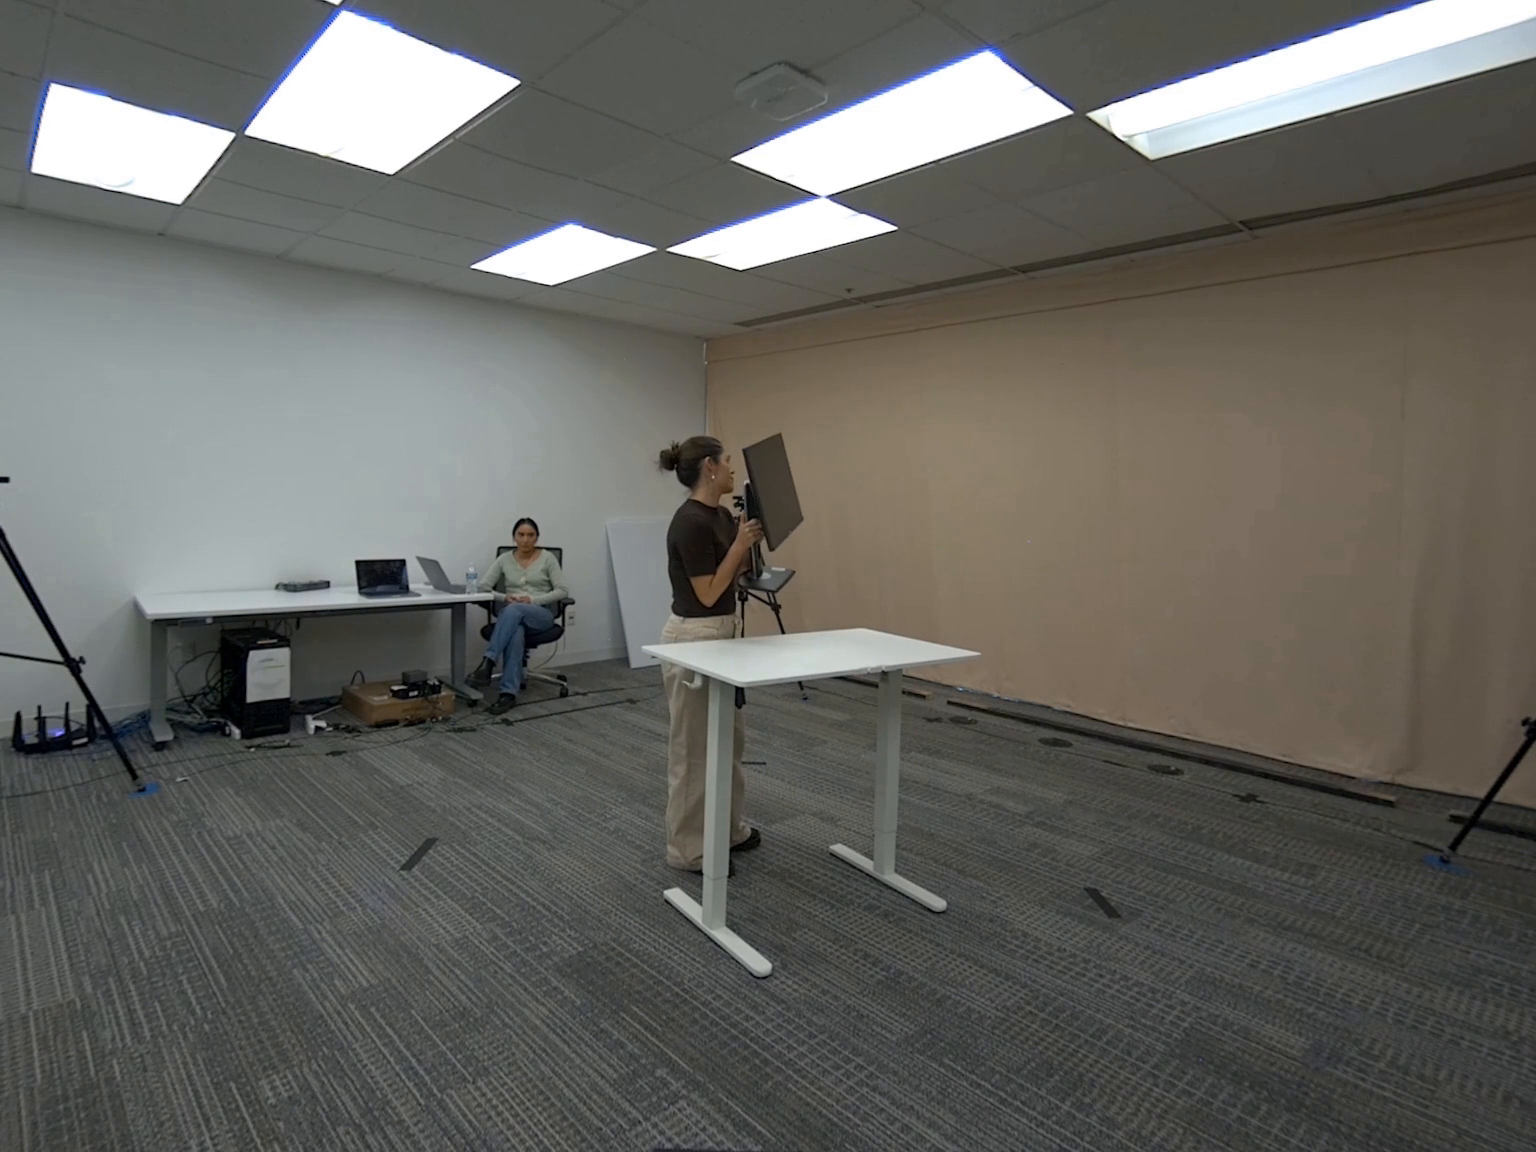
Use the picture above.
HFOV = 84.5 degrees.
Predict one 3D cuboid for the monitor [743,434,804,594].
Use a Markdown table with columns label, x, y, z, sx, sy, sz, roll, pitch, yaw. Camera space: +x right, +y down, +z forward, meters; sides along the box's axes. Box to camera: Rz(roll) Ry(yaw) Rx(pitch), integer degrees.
| label | x | y | z | sx | sy | sz | roll | pitch | yaw |
| --- | --- | --- | --- | --- | --- | --- | --- | --- | --- |
| monitor | -0.005 | -0.233 | 3.019 | 0.189 | 0.517 | 0.539 | 2 | 14 | 10 |
